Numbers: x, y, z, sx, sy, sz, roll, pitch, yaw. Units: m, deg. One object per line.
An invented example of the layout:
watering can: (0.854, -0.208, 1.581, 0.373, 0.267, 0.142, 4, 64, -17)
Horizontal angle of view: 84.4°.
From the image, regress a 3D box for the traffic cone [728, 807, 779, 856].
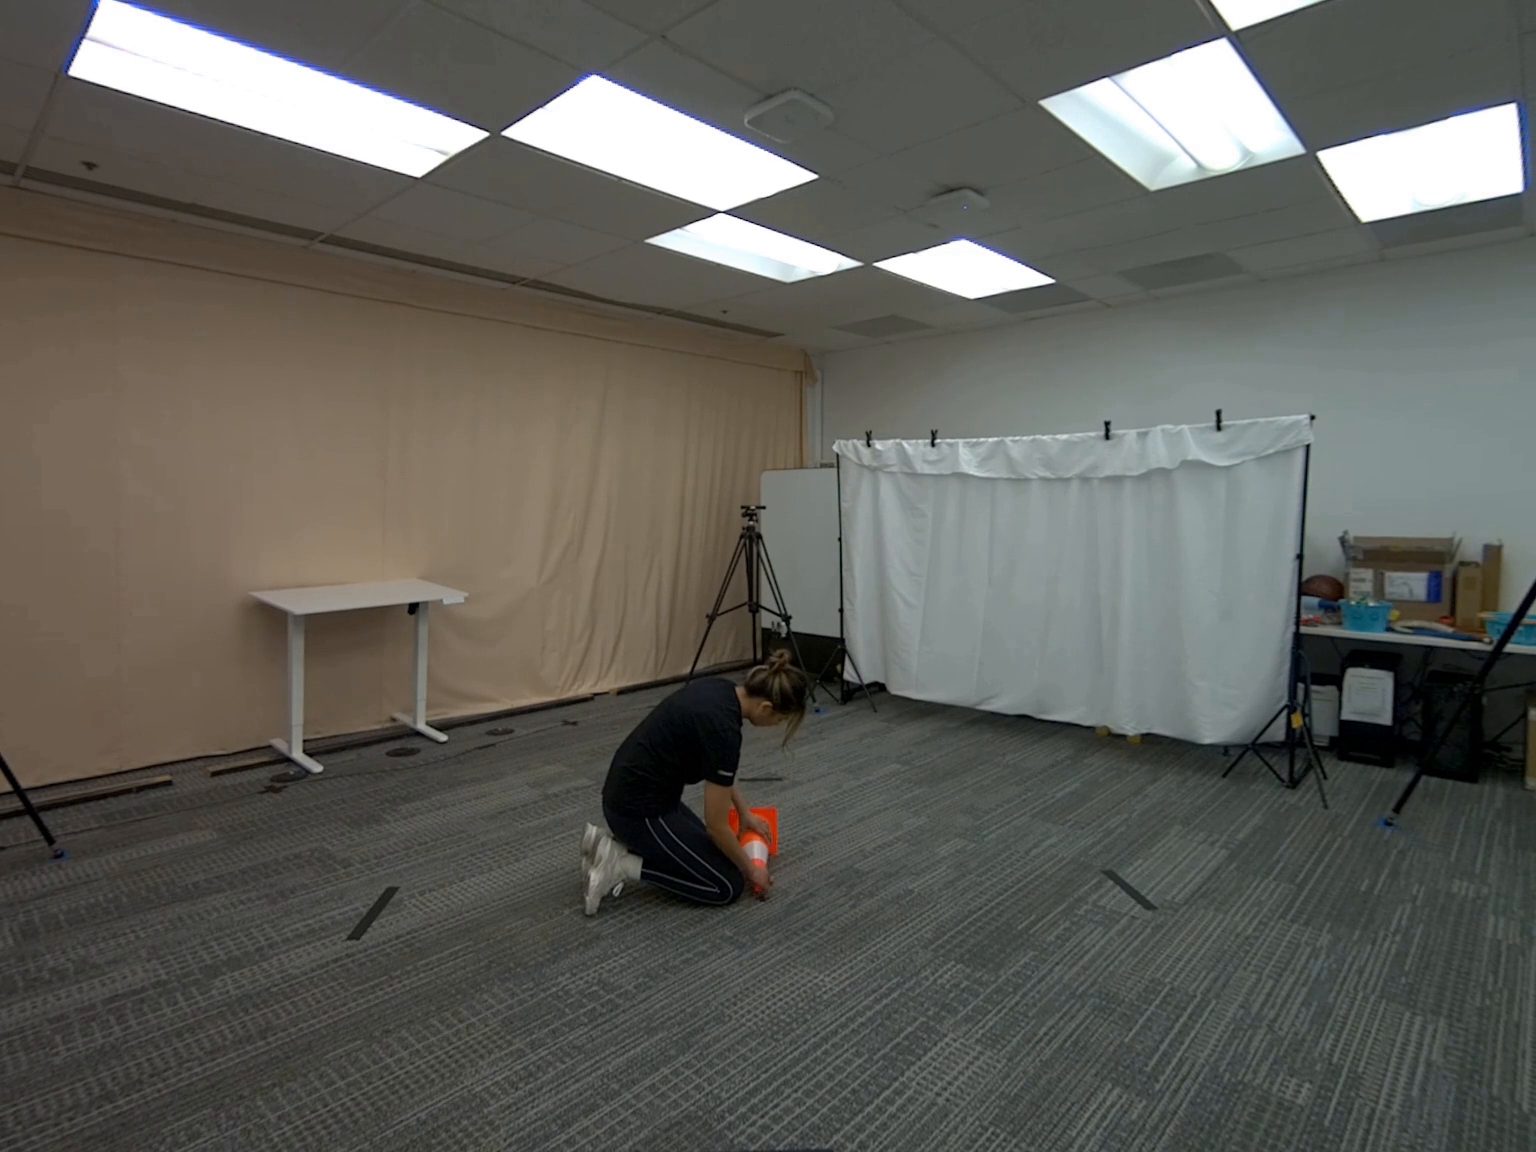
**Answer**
traffic cone: (-0.053, 1.044, 3.182, 0.205, 0.202, 0.387, -5, 10, -2)
